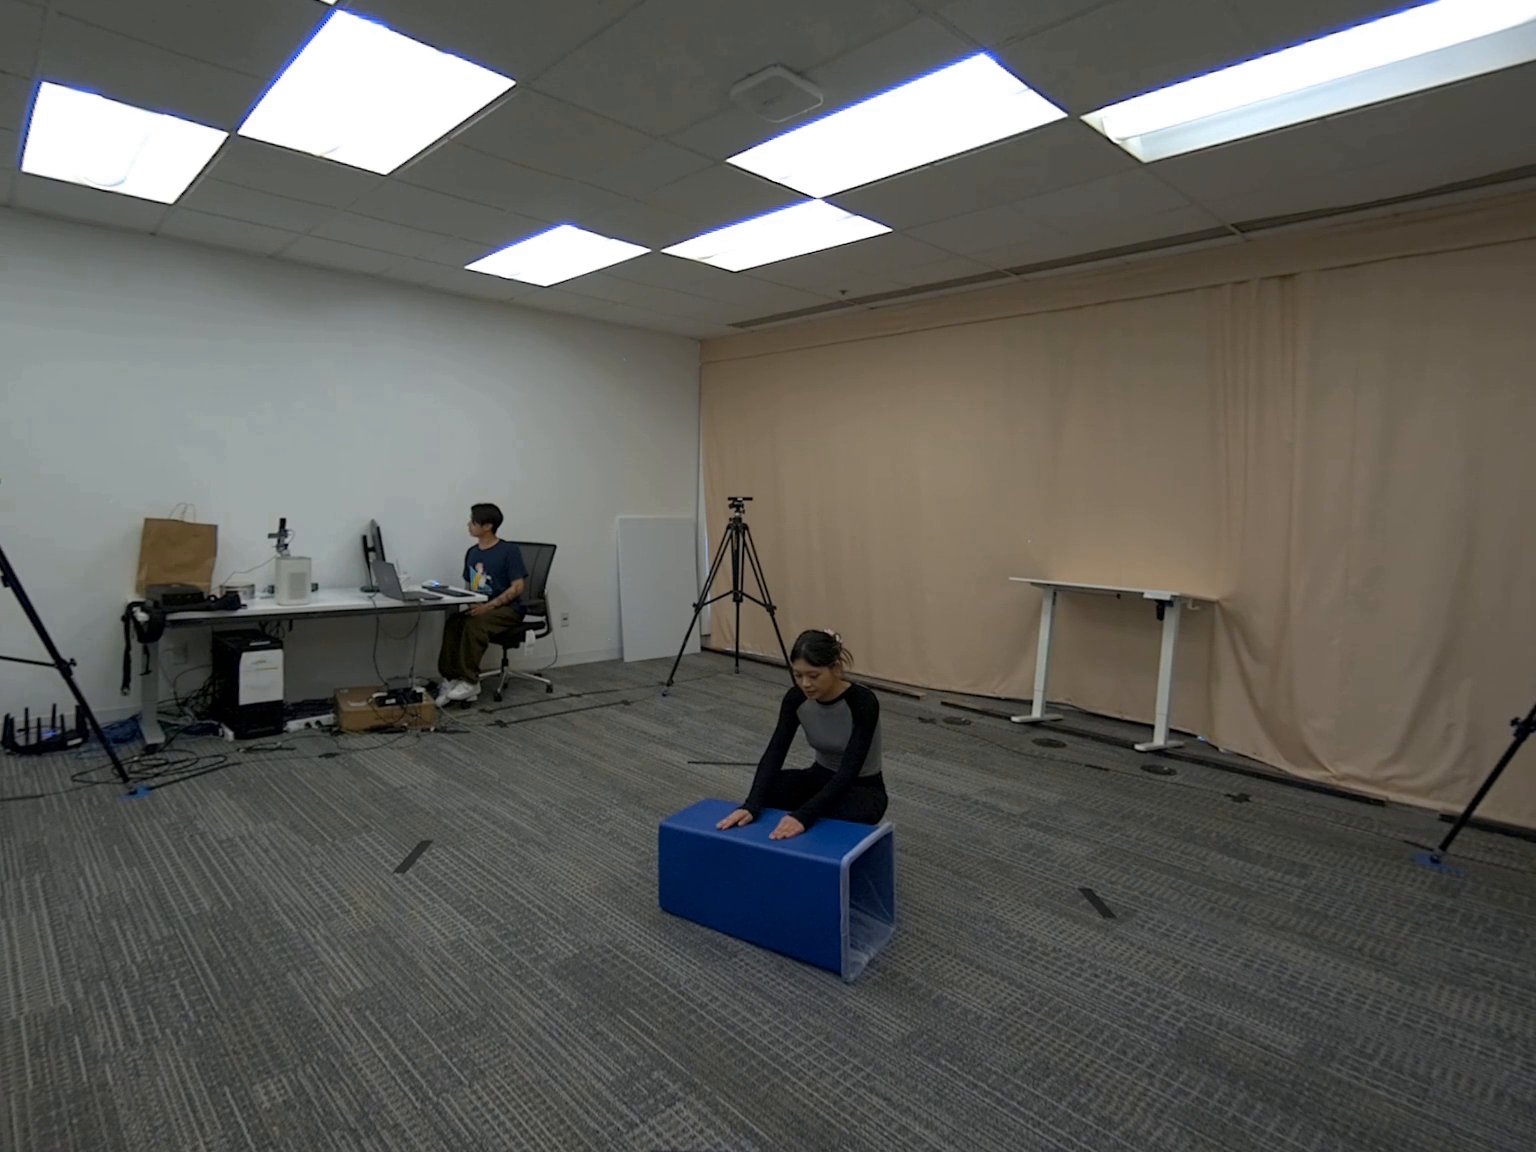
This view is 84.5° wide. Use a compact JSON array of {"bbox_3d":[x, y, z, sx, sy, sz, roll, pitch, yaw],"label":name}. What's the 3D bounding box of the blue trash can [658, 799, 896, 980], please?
[{"bbox_3d":[0.009,0.977,2.756,0.729,0.377,0.367,1,5,32],"label":"blue trash can"}]
